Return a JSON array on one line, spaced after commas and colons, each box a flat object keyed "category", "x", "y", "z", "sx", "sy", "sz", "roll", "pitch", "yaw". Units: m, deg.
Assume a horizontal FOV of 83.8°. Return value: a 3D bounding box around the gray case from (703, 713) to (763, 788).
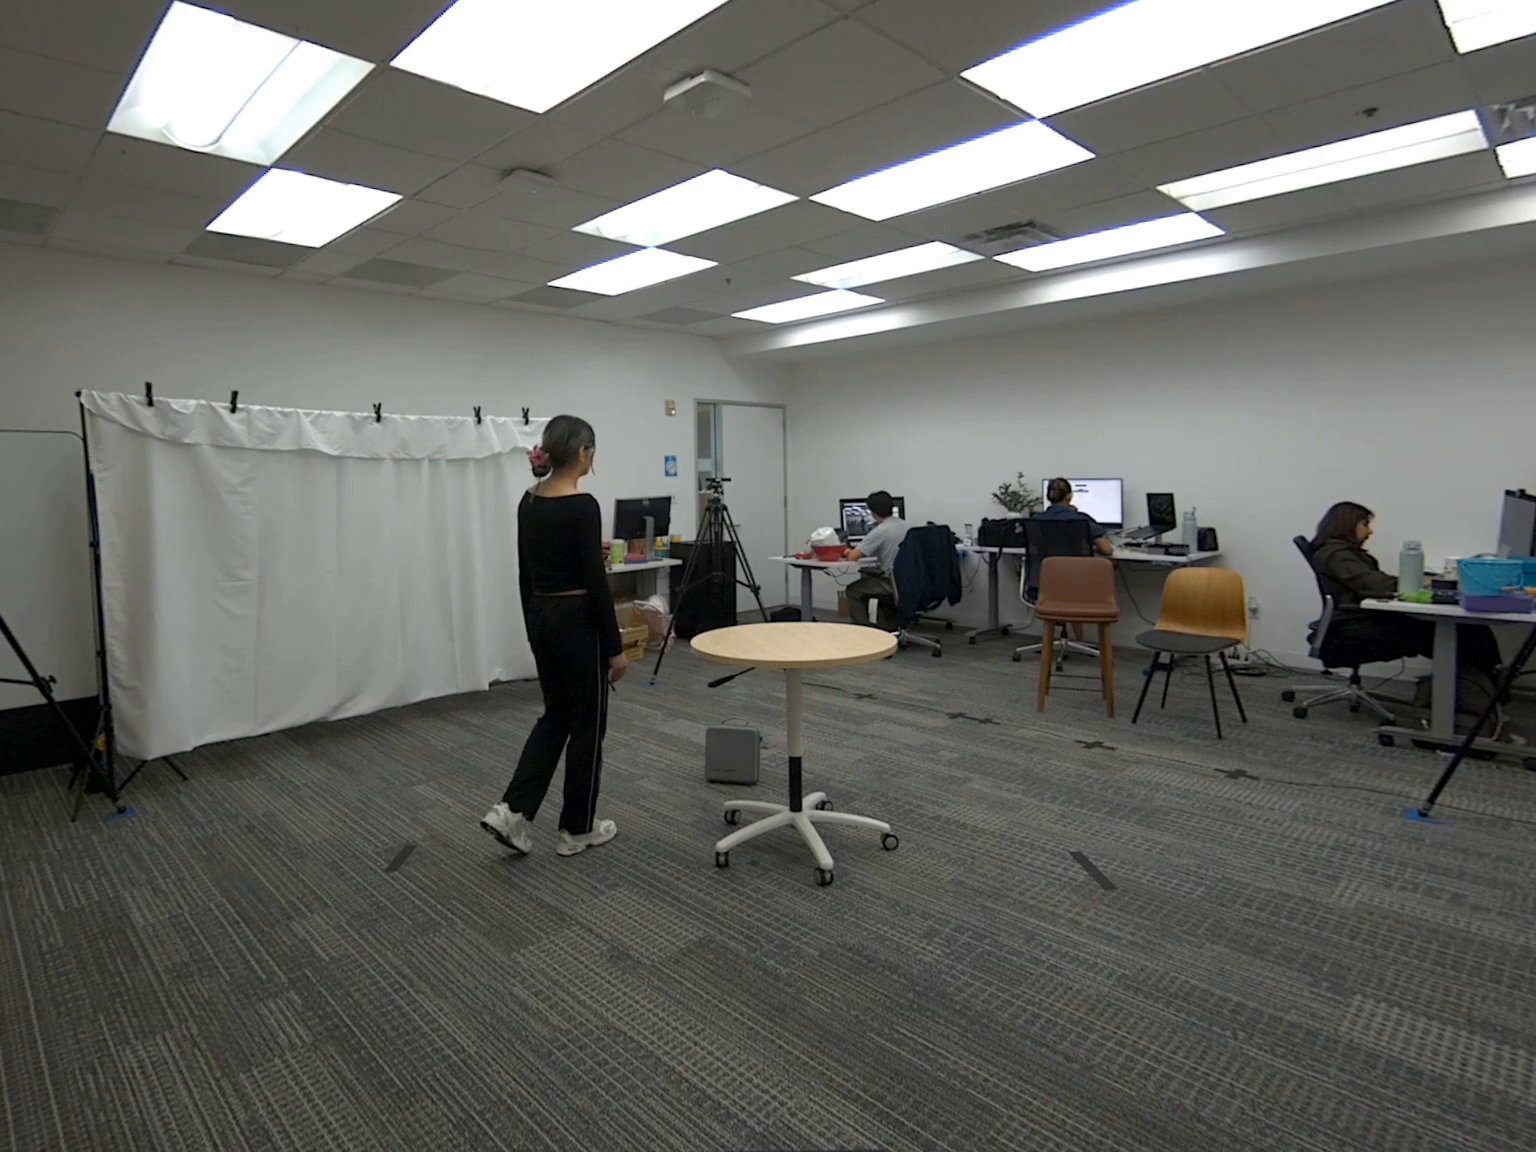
[{"category": "gray case", "x": -0.165, "y": 0.818, "z": 3.962, "sx": 0.261, "sy": 0.262, "sz": 0.102, "roll": 1, "pitch": -7, "yaw": 14}]
